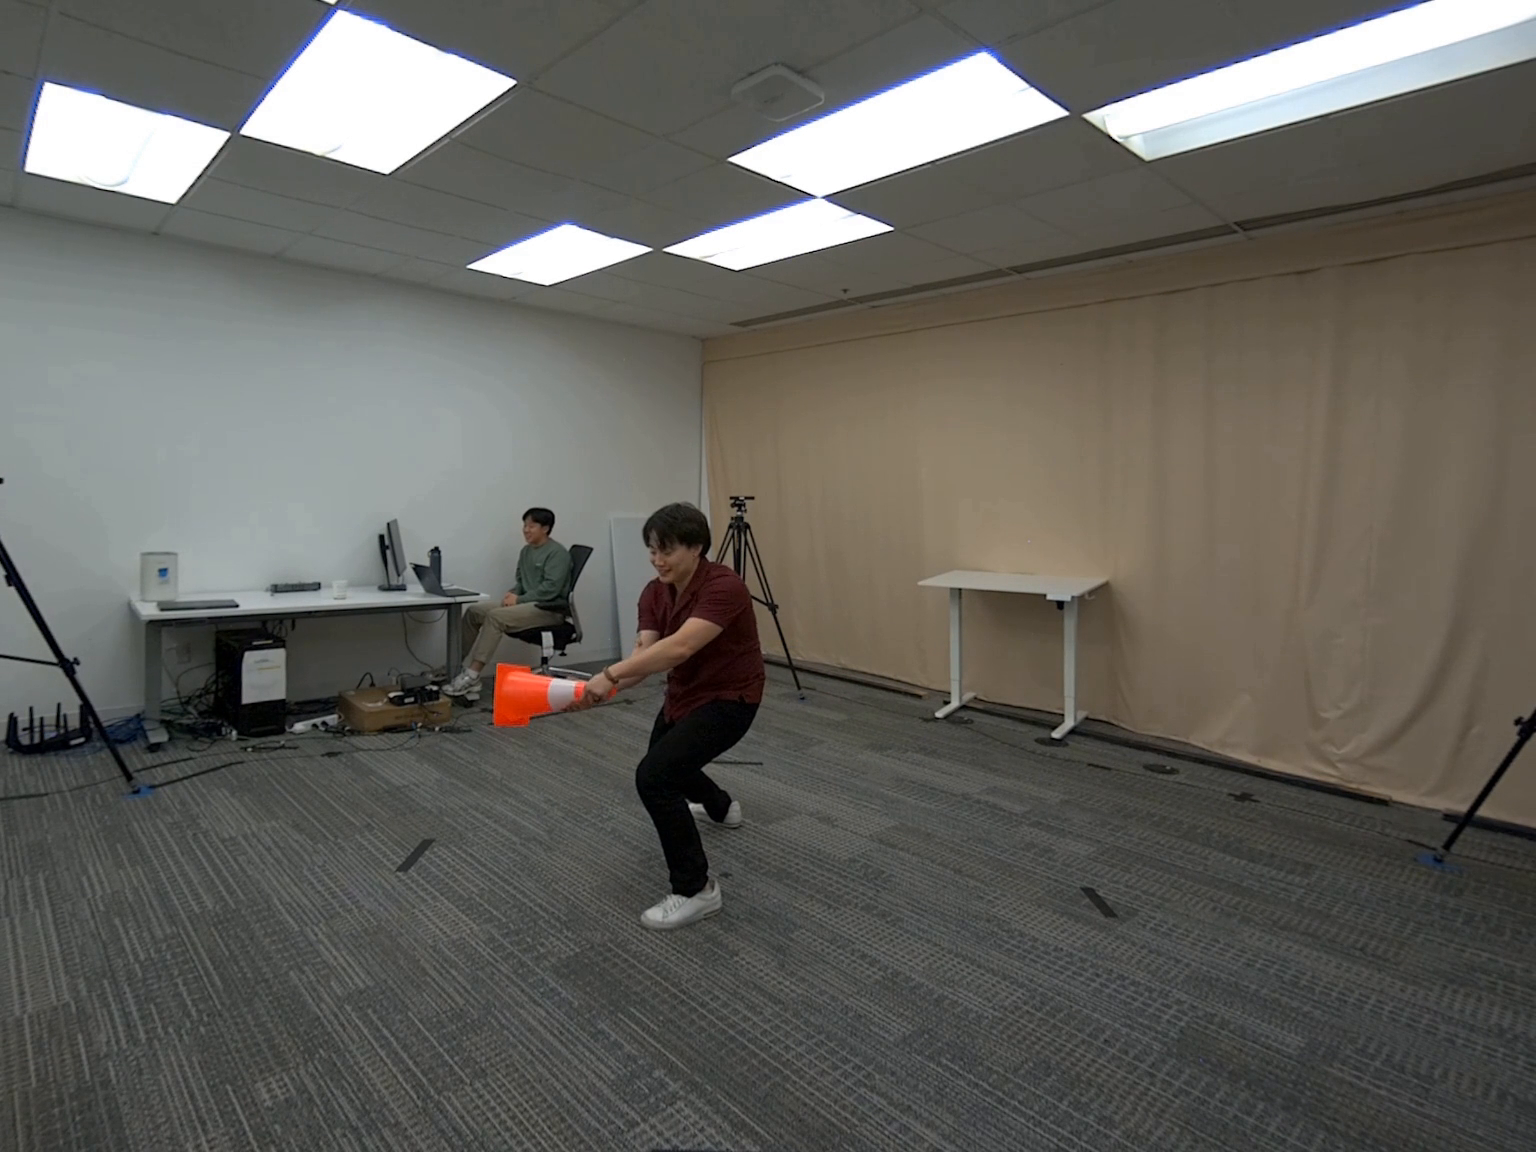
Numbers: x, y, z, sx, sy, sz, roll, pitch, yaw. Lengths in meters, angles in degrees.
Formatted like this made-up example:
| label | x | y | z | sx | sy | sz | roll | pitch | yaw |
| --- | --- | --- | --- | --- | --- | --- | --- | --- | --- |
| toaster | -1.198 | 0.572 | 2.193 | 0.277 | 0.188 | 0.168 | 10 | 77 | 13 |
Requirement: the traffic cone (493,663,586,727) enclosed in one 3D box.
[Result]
| label | x | y | z | sx | sy | sz | roll | pitch | yaw |
| --- | --- | --- | --- | --- | --- | --- | --- | --- | --- |
| traffic cone | -0.666 | 0.377 | 2.716 | 0.389 | 0.207 | 0.199 | -6 | -12 | 19 |
